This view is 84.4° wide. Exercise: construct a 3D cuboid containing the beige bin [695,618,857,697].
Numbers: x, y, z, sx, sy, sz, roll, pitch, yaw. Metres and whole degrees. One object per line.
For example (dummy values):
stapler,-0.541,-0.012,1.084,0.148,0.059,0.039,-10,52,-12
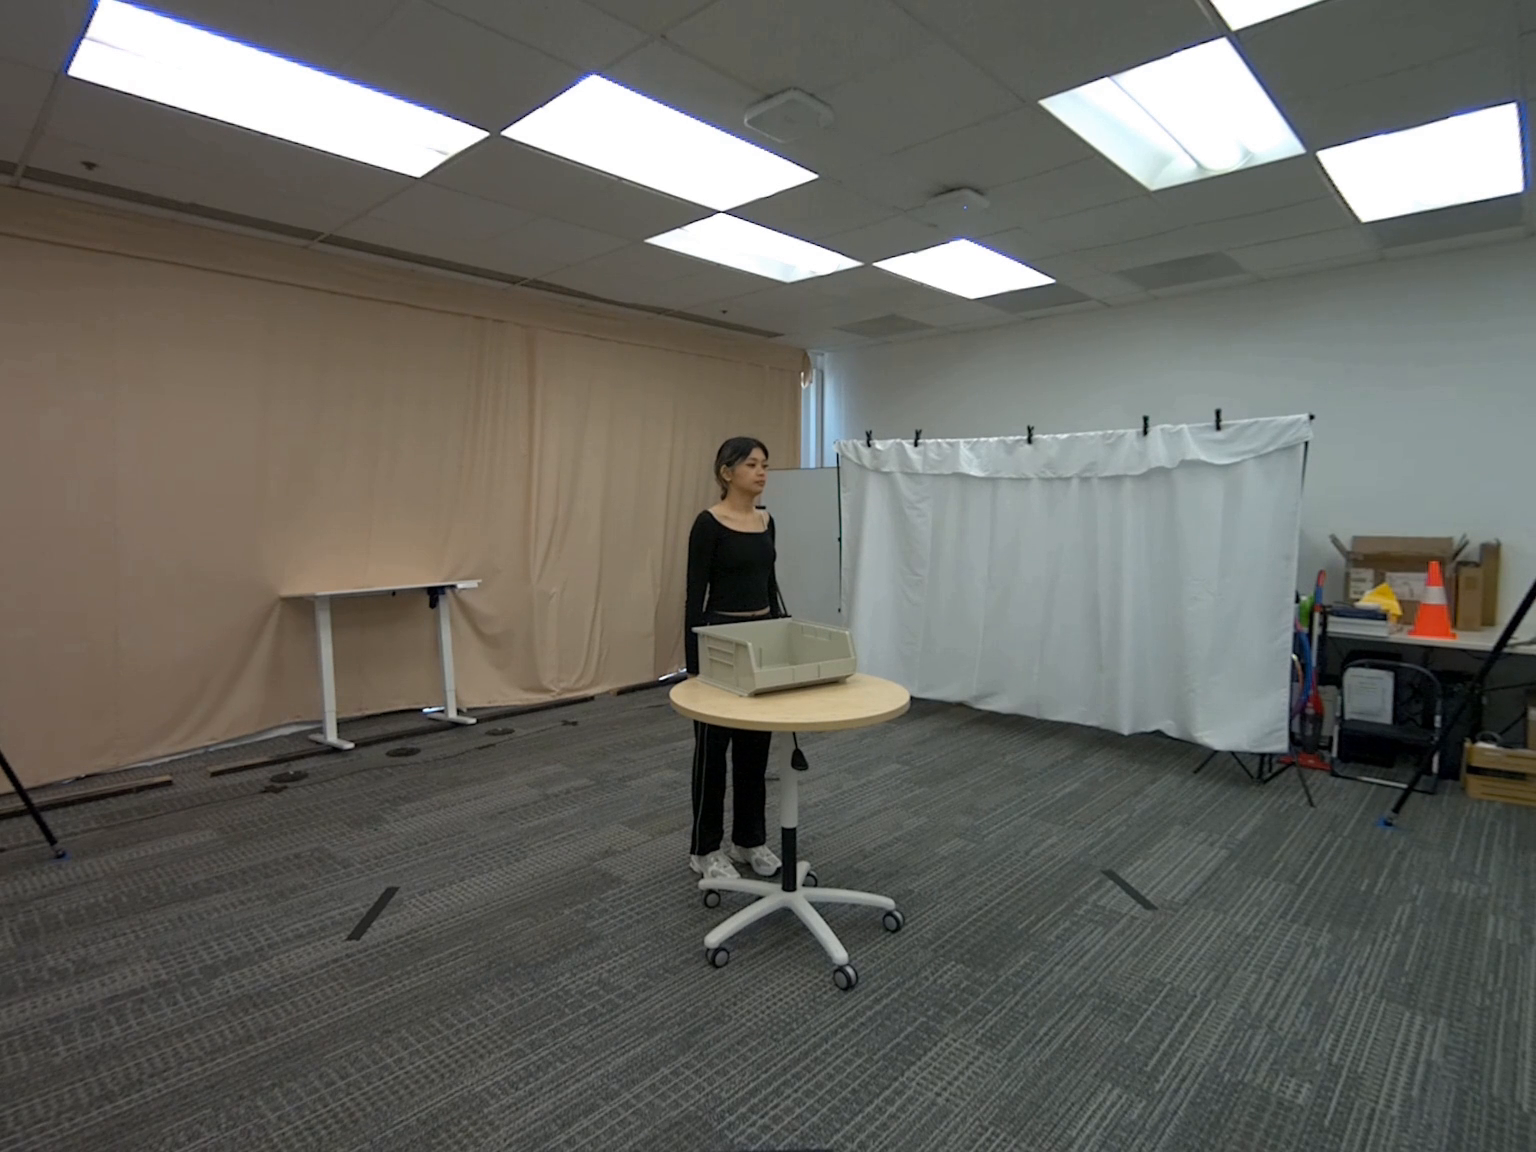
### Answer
beige bin,0.026,0.269,2.850,0.410,0.188,0.389,-4,5,-34
